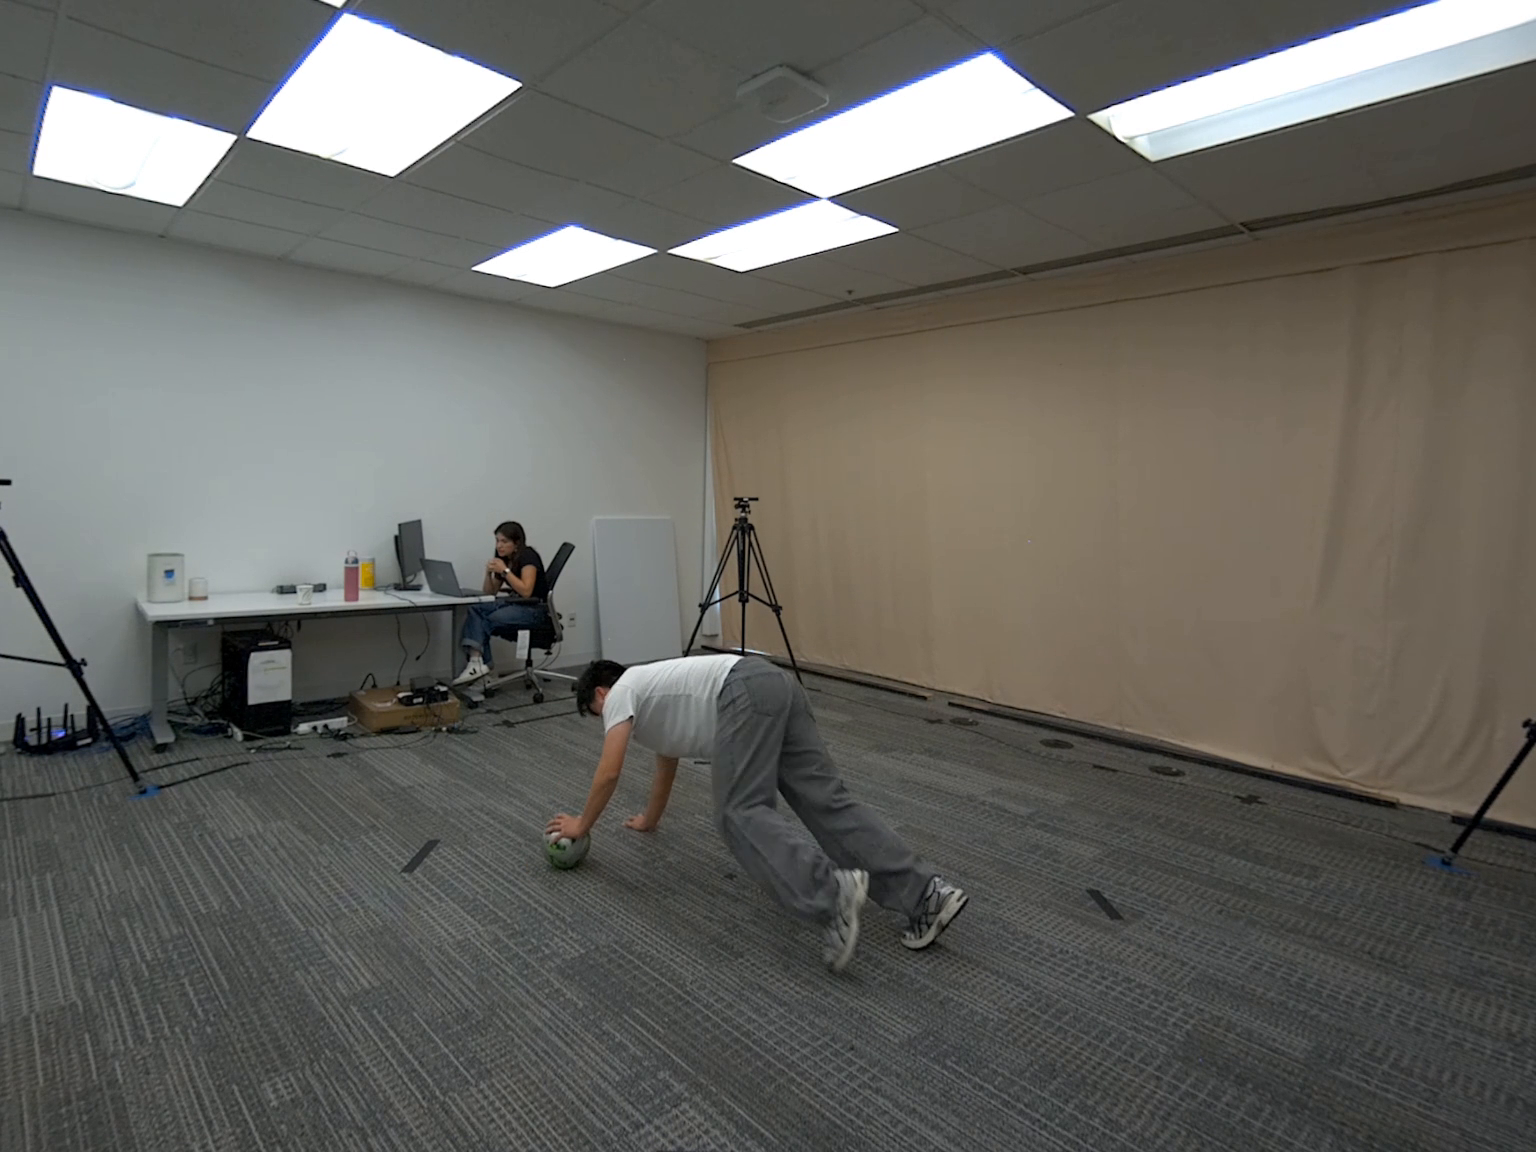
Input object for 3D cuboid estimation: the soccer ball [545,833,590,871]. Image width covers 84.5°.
[{"bbox_3d":[-0.761,0.997,3.160,0.187,0.187,0.188,1,4,-1],"label":"soccer ball"}]
